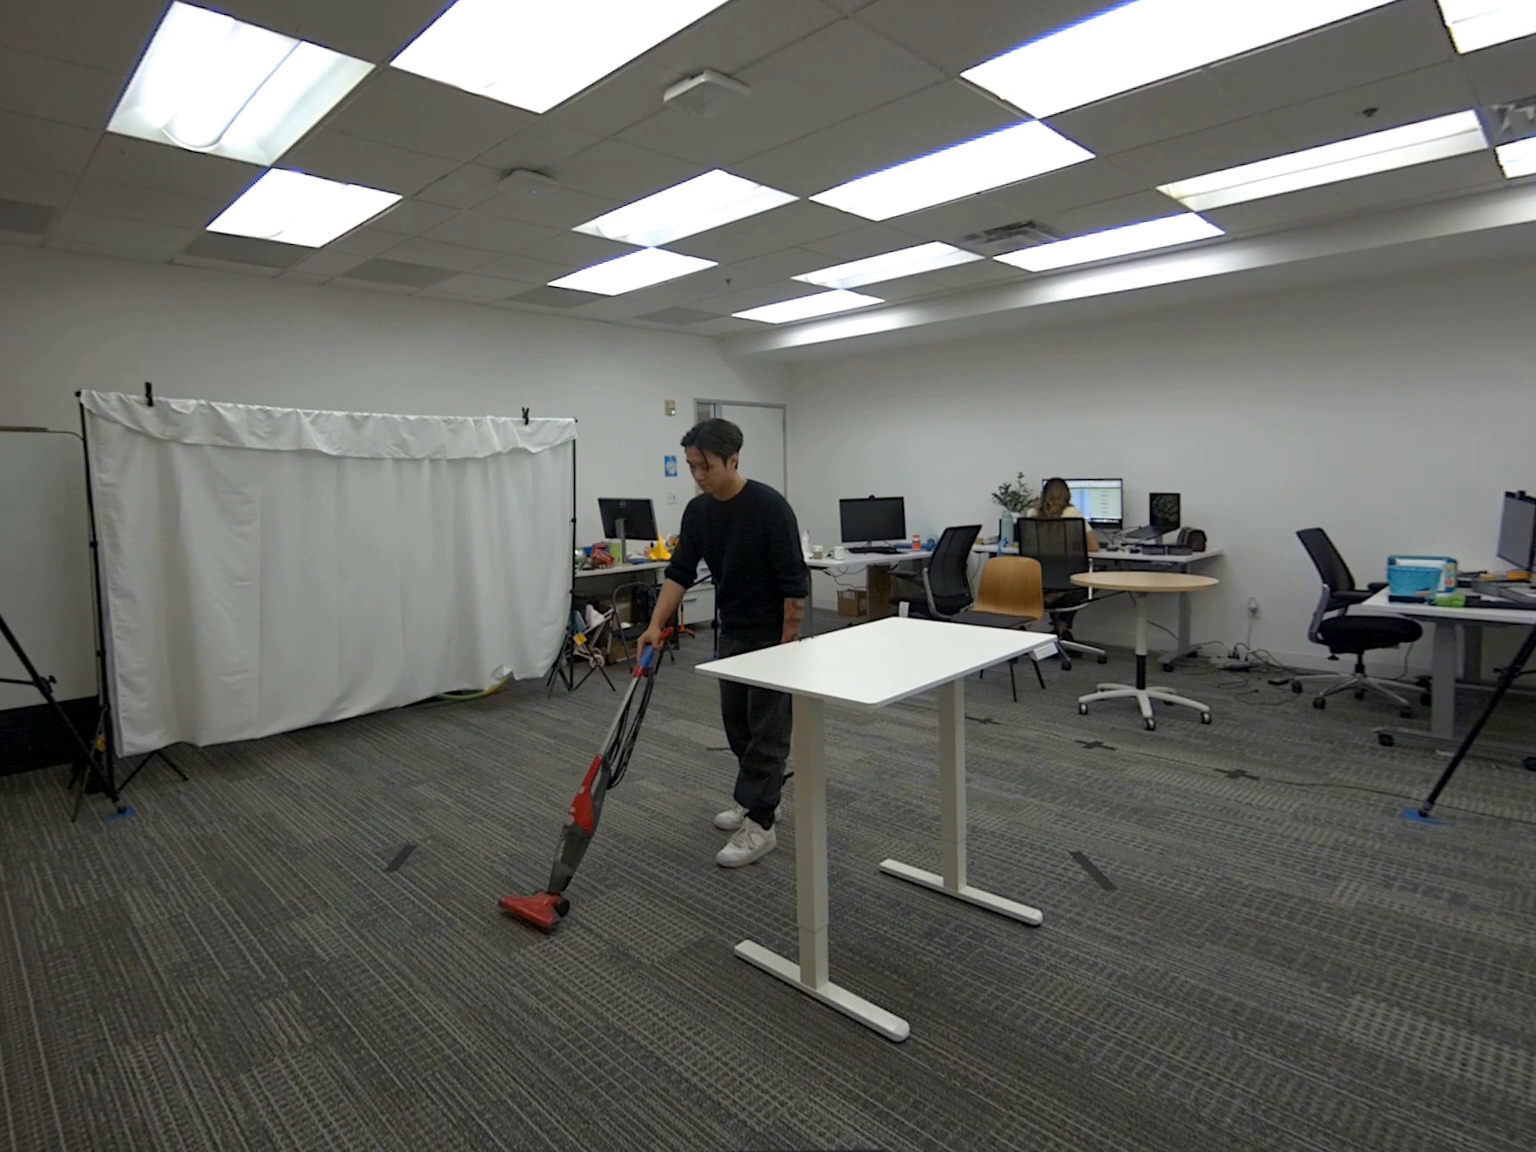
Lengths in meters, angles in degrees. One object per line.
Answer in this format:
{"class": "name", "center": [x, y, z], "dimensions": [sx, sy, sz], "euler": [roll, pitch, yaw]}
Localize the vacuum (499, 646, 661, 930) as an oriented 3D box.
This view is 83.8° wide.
{"class": "vacuum", "center": [-0.554, 0.657, 2.975], "dimensions": [0.260, 1.059, 0.138], "euler": [3, -33, 36]}
